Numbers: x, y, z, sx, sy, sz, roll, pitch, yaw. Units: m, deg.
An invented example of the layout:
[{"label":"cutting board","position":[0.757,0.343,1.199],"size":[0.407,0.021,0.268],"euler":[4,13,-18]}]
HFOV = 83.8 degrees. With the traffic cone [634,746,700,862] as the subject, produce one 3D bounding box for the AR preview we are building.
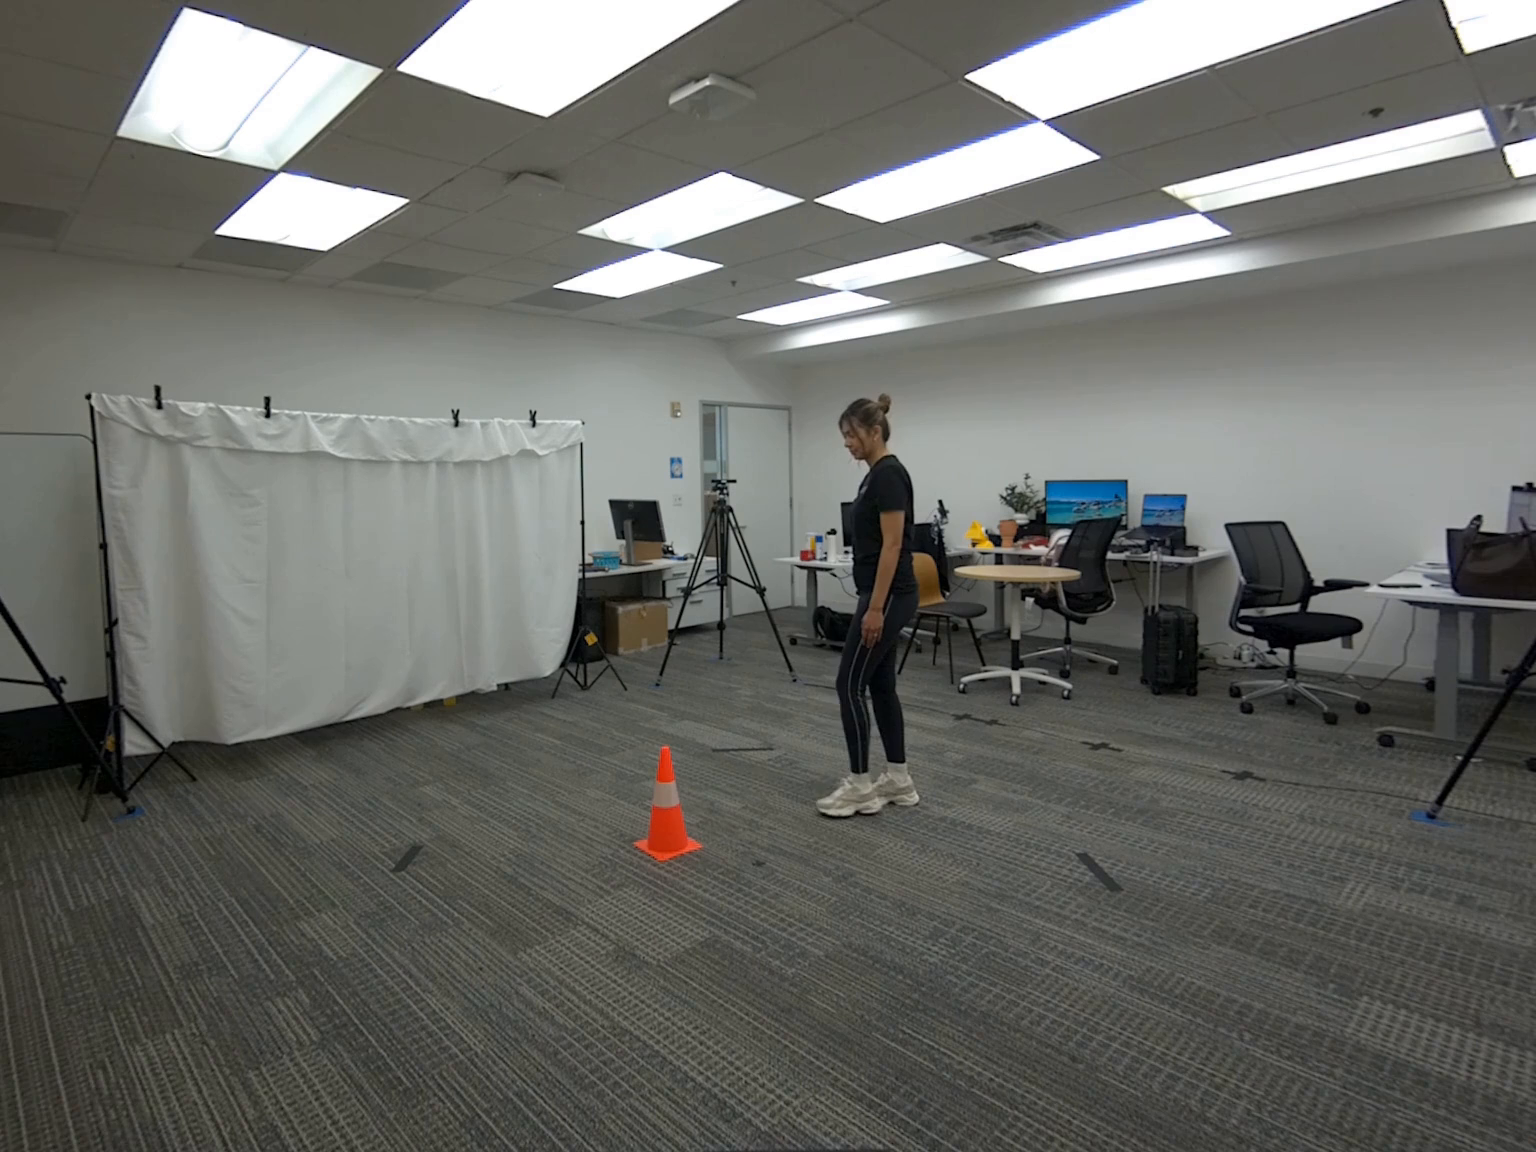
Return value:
[{"label":"traffic cone","position":[-0.387,0.853,3.262],"size":[0.211,0.382,0.198],"euler":[2,5,43]}]
